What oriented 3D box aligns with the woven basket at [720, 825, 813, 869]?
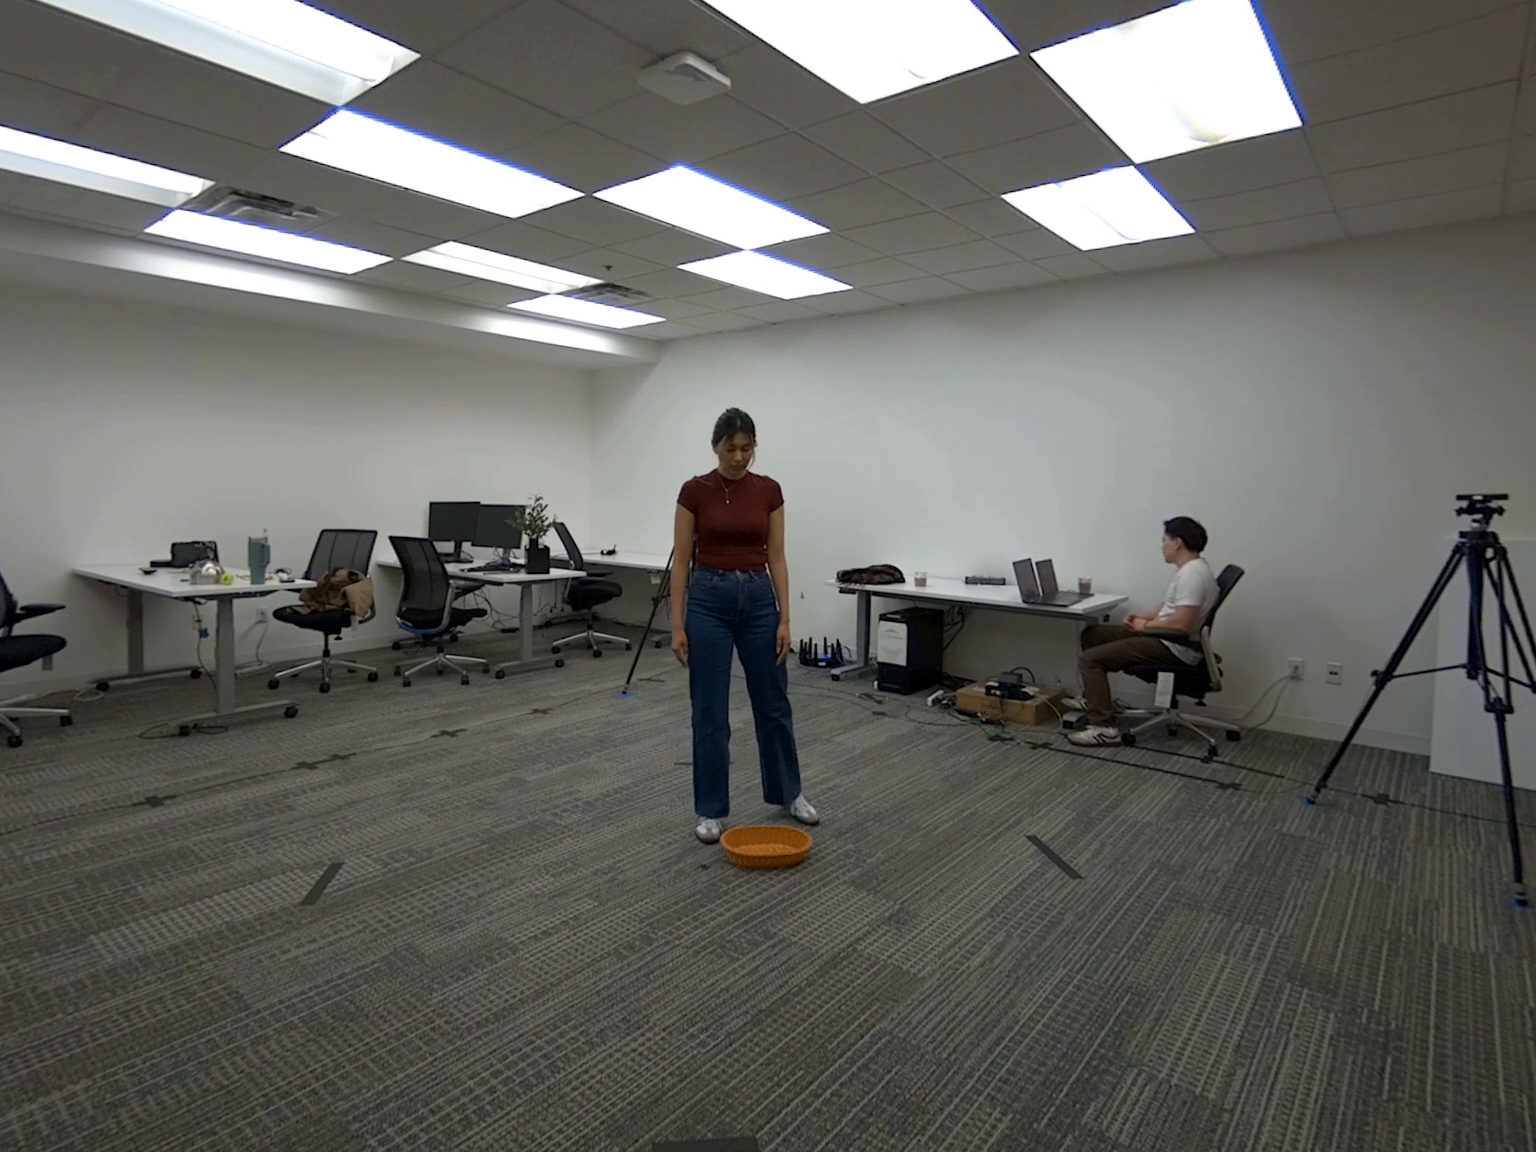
[{"bbox_3d":[-0.022,1.026,3.200,0.348,0.073,0.256,0,6,-8],"label":"woven basket"}]
